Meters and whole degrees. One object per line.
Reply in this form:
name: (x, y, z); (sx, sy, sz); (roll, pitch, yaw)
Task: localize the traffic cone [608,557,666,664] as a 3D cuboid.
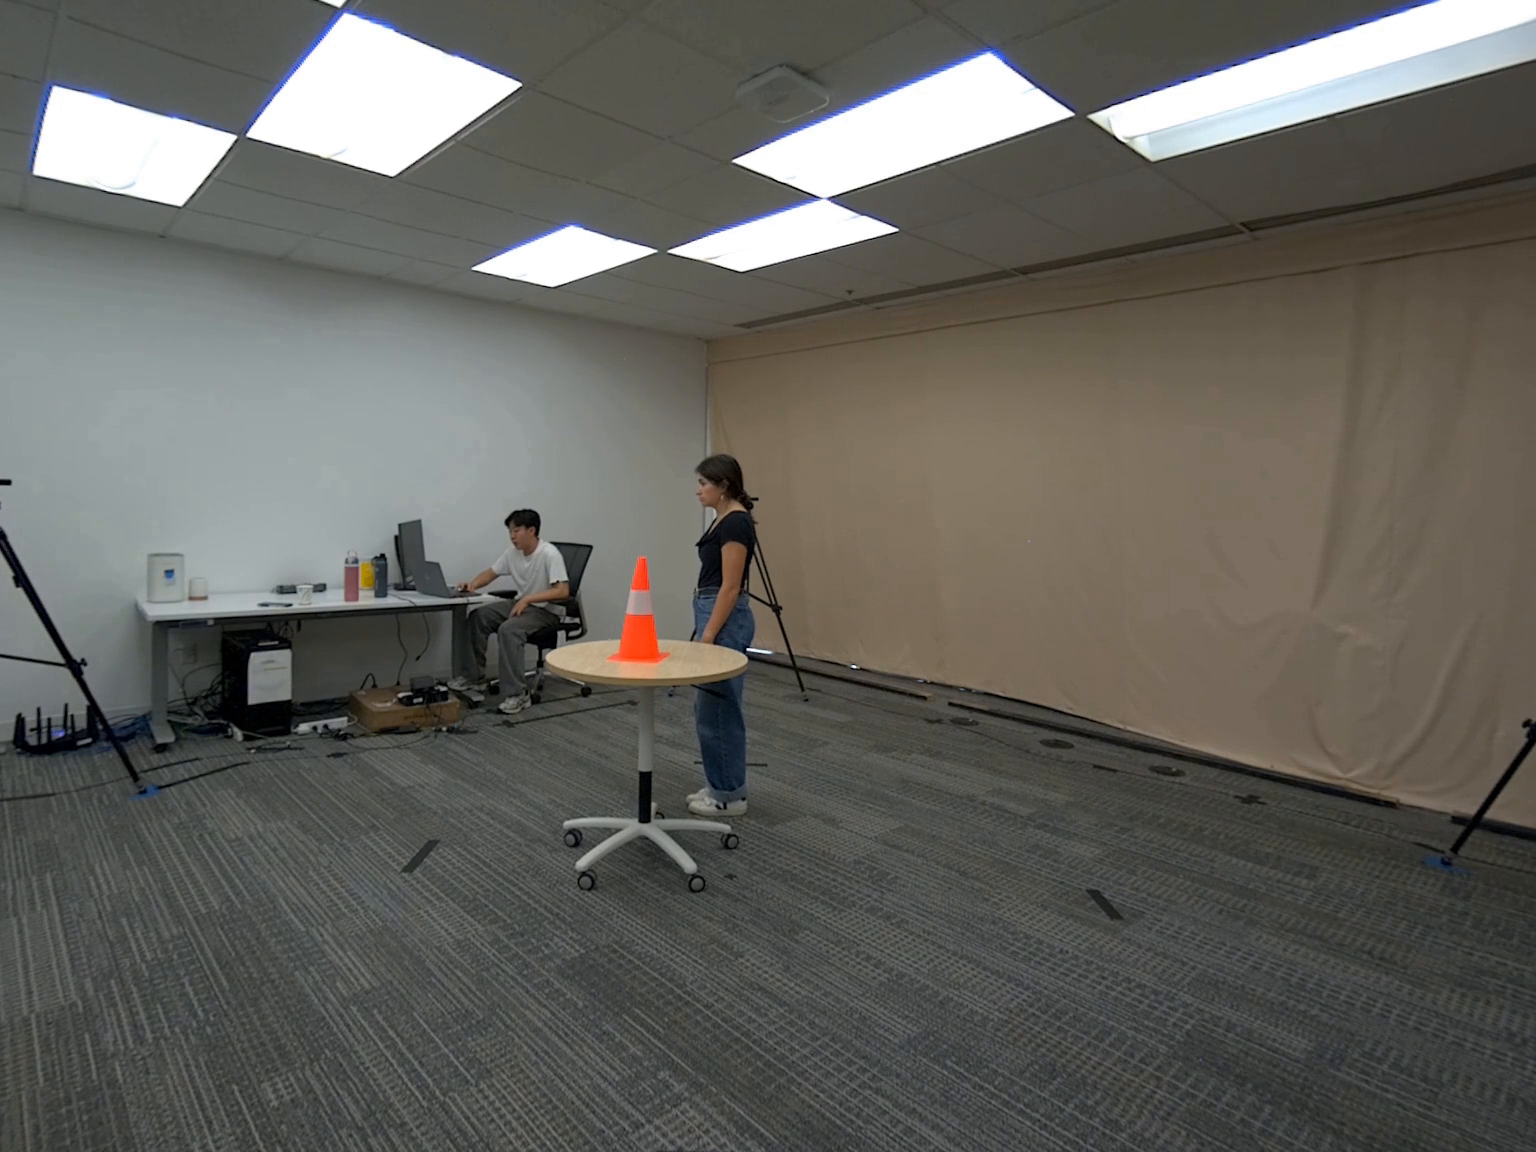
traffic cone: (-0.493, 0.125, 3.192); (0.204, 0.383, 0.204); (2, 3, 6)
